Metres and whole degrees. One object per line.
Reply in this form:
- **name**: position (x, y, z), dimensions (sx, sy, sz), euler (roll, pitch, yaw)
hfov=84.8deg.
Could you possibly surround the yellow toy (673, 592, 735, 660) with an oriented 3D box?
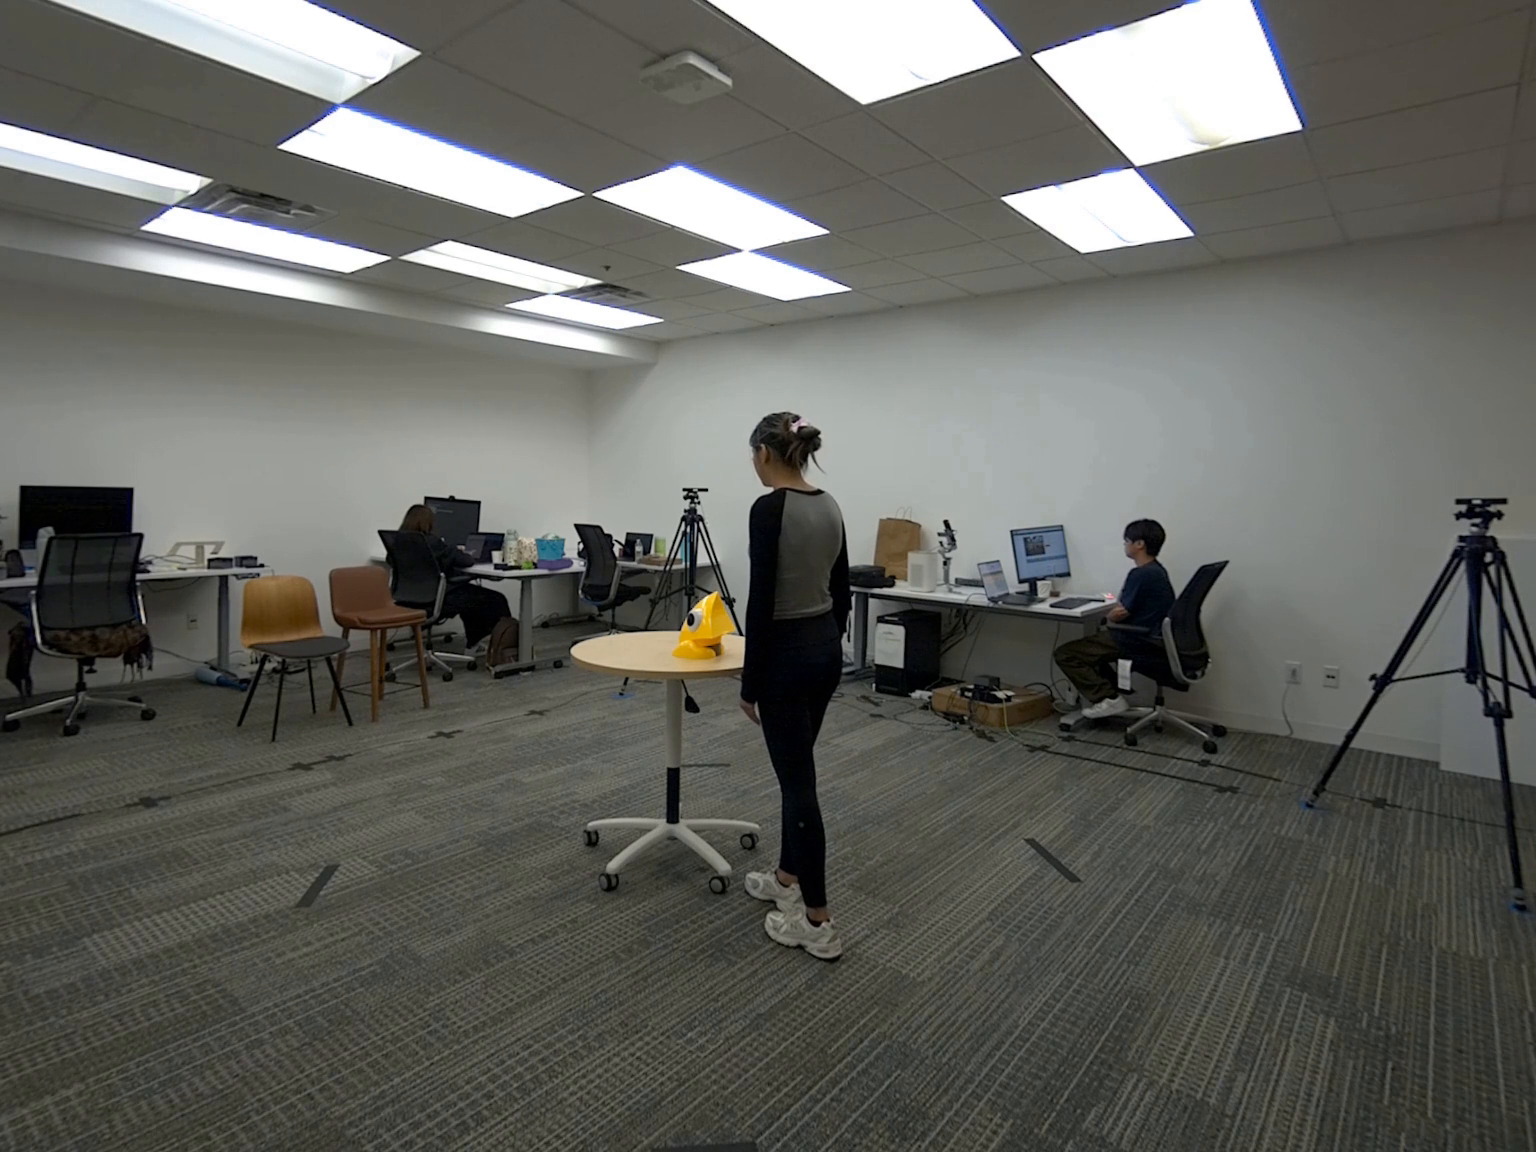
- **yellow toy**: position (-0.252, 0.164, 3.074), dimensions (0.198, 0.230, 0.200), euler (3, 4, 23)
